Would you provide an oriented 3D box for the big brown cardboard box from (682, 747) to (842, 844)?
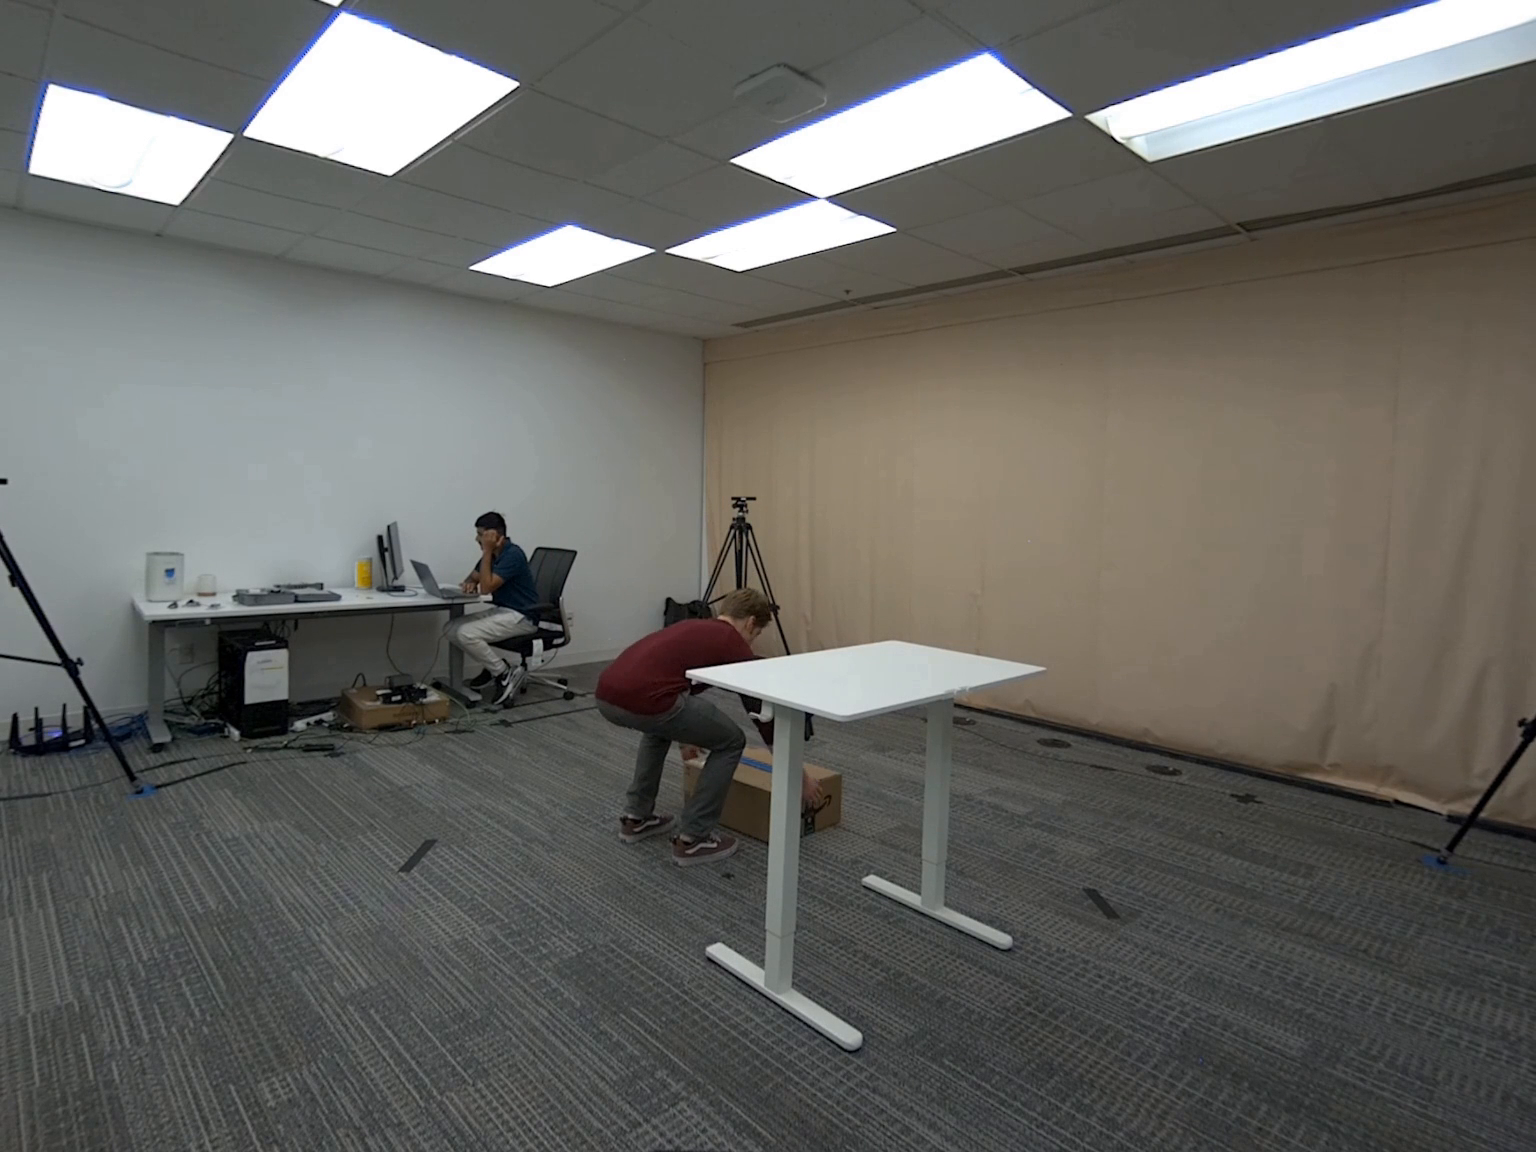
[{"bbox_3d":[-0.041,0.946,3.708,0.604,0.232,0.408,6,6,43],"label":"big brown cardboard box"}]
